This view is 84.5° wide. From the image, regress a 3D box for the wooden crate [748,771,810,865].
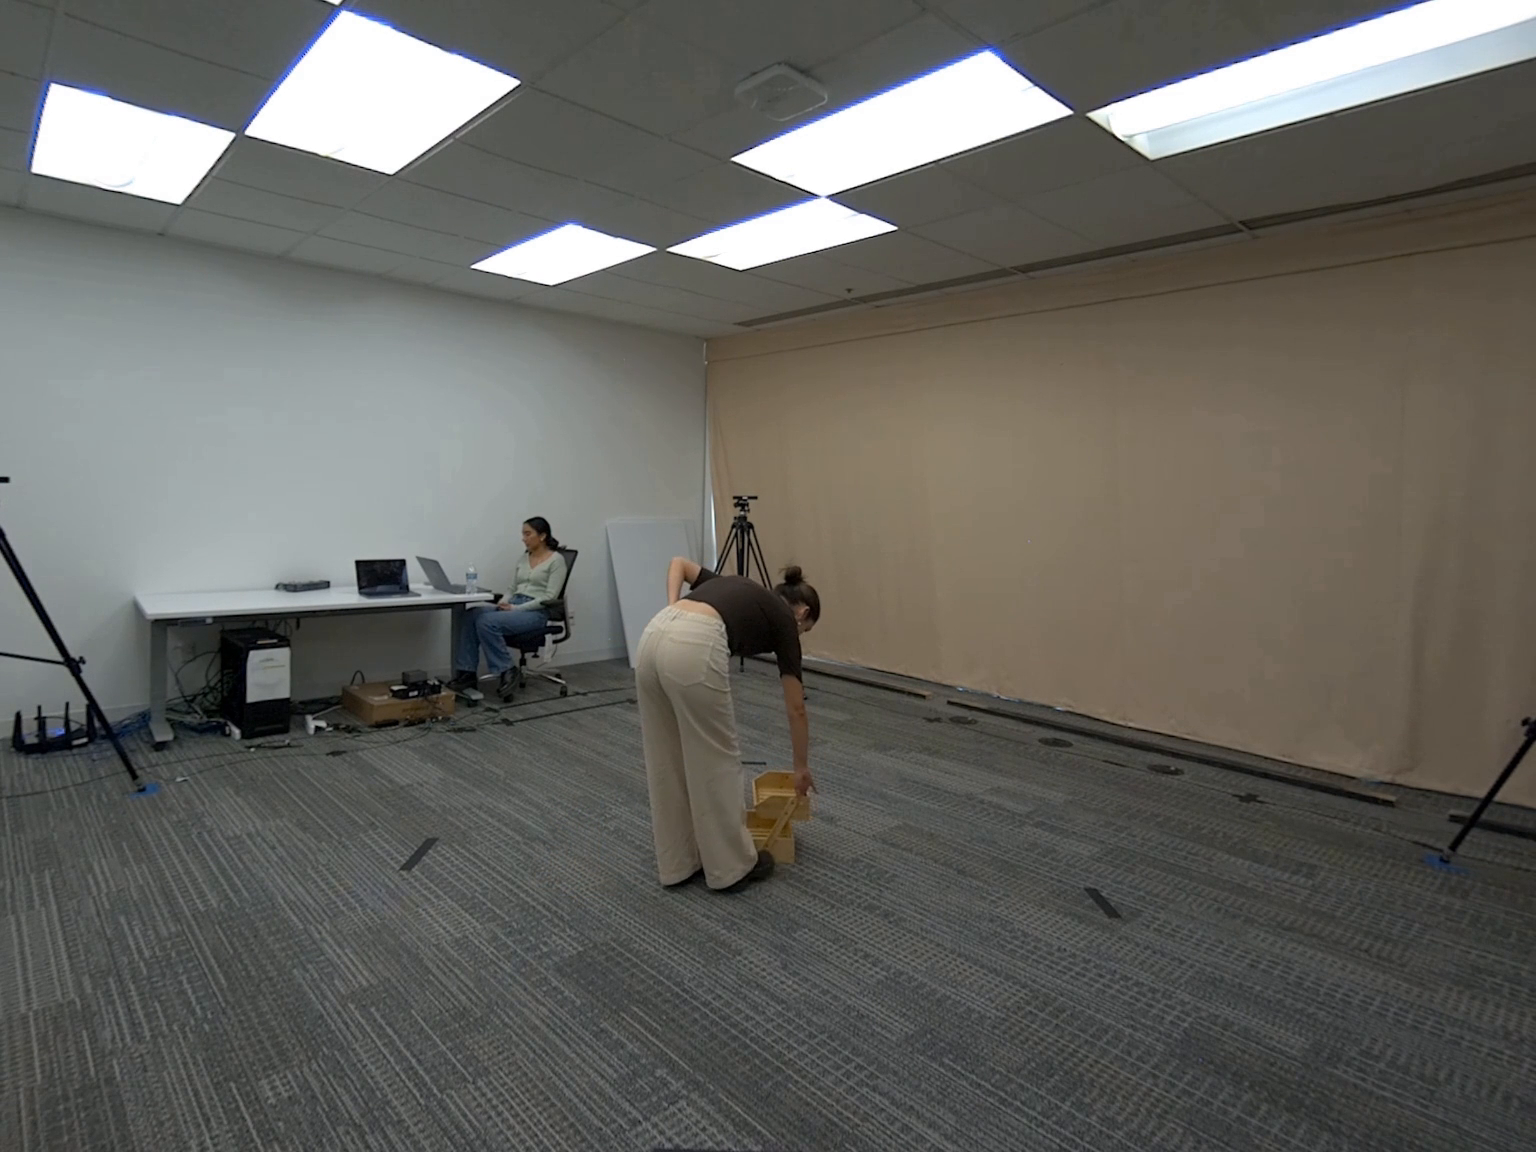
[{"bbox_3d":[-0.011,0.947,3.356,0.302,0.272,0.325,2,4,-1],"label":"wooden crate"}]
